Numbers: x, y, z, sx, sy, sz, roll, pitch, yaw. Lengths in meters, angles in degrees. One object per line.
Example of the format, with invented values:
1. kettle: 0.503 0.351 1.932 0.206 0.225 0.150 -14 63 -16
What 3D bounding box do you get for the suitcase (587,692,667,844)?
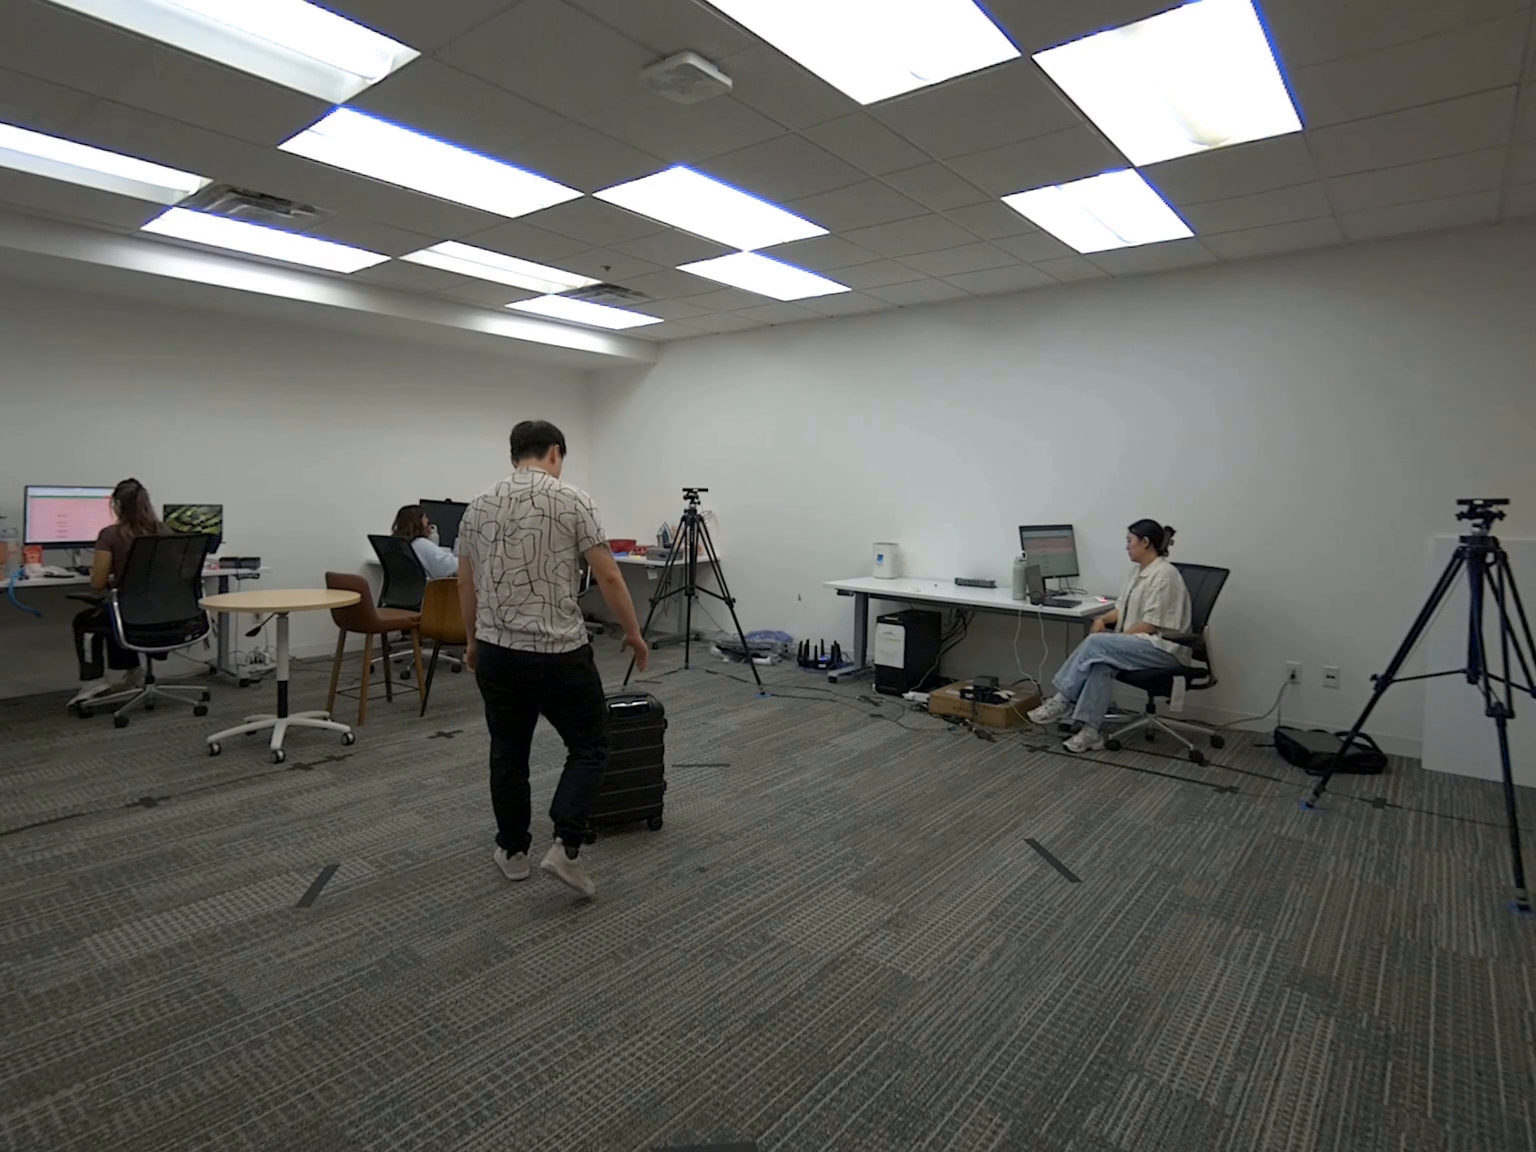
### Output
1. suitcase: -0.634 0.748 3.493 0.365 0.548 0.256 -1 4 -30
